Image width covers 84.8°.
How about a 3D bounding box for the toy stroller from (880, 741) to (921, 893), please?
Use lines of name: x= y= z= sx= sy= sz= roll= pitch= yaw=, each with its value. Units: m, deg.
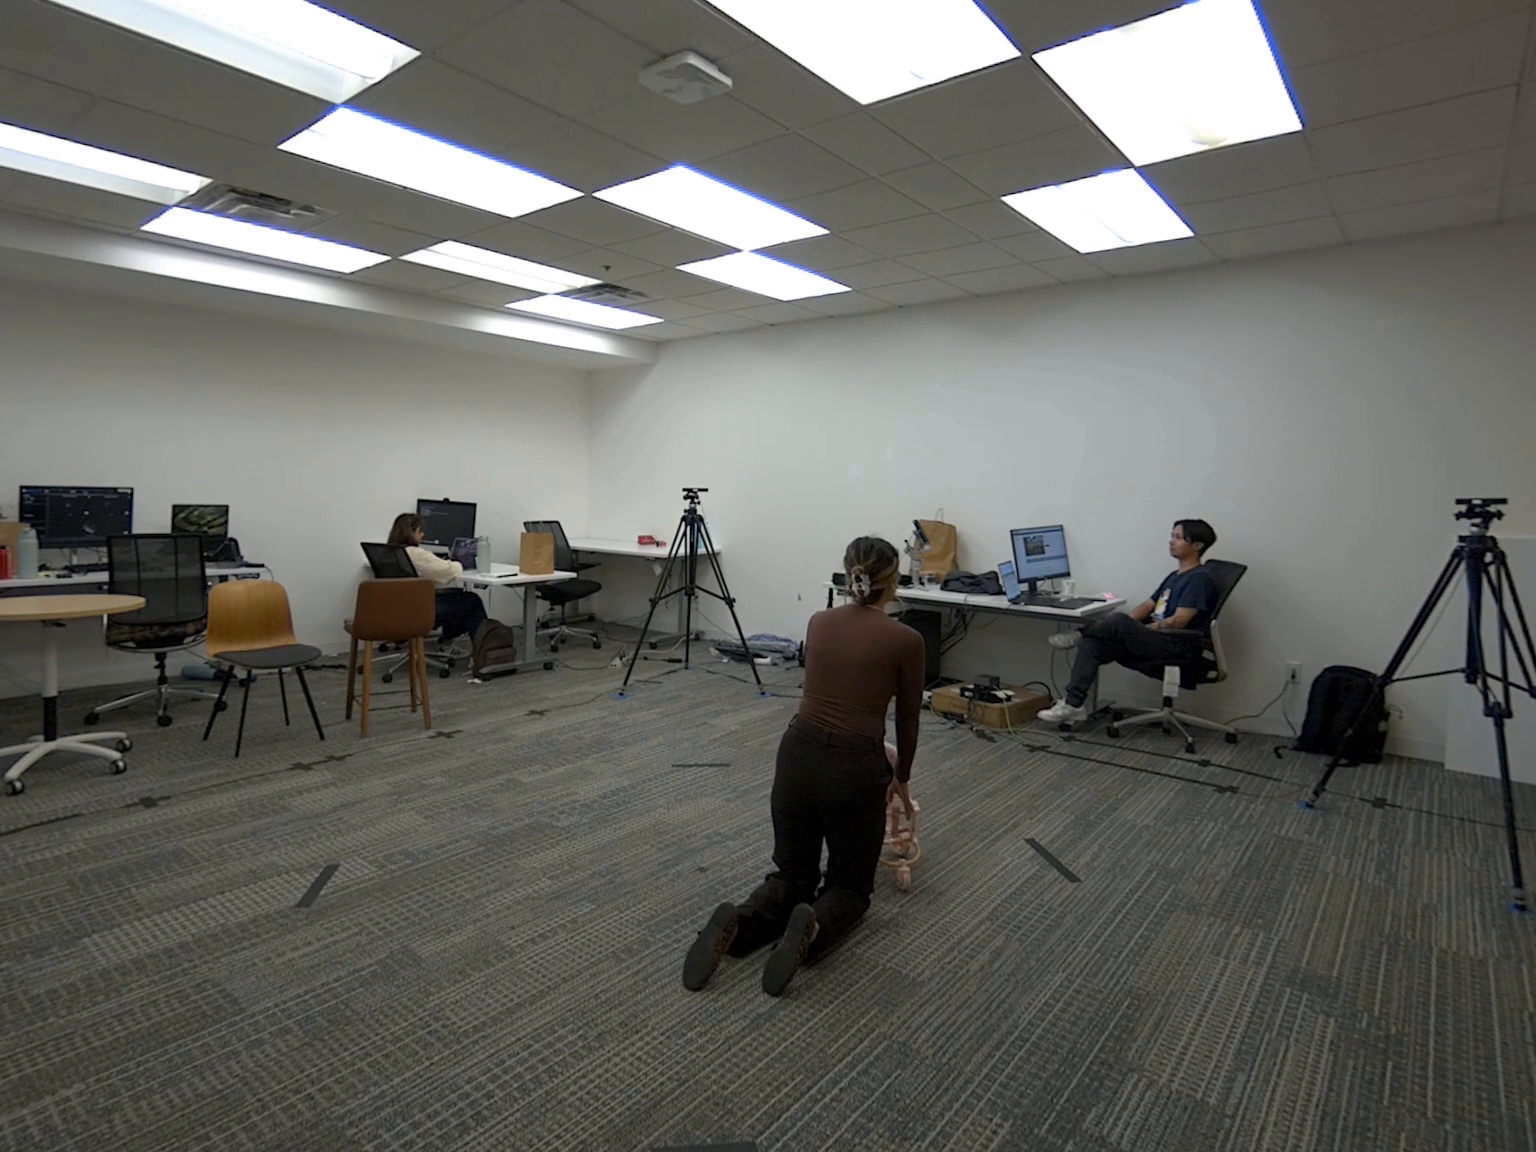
toy stroller: x=0.407 y=0.853 z=3.156 sx=0.277 sy=0.541 sz=0.342 roll=-1 pitch=-12 yaw=-15
